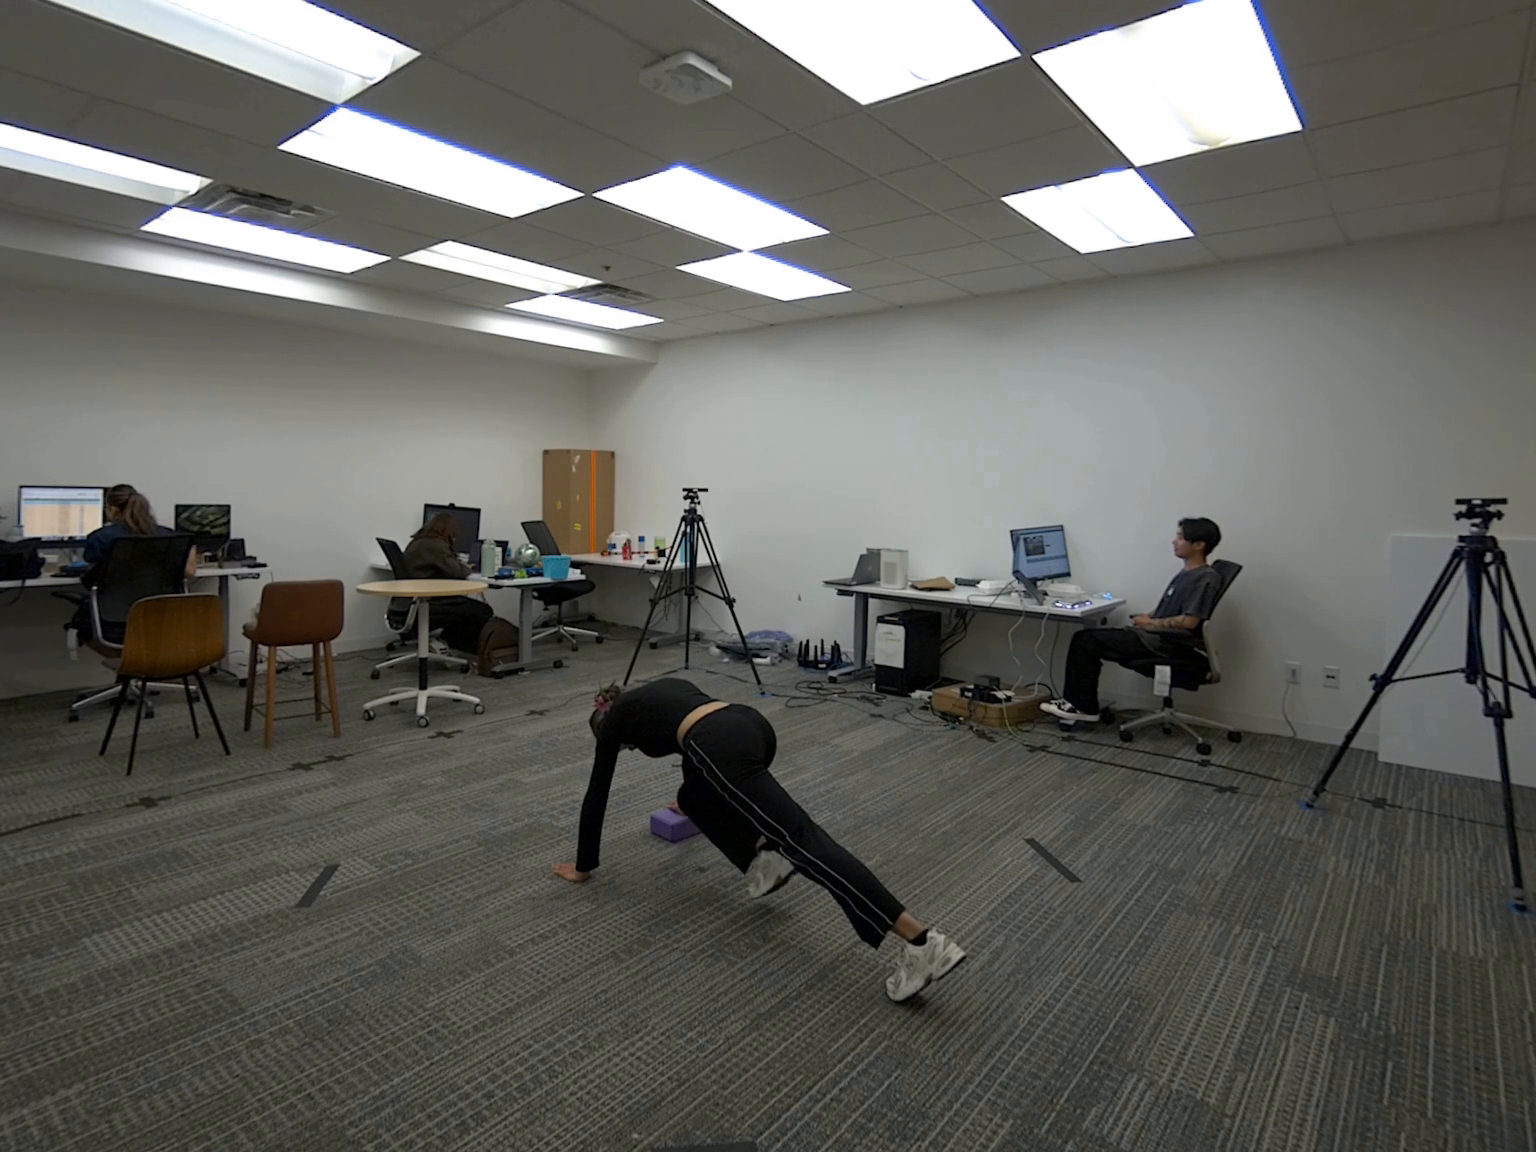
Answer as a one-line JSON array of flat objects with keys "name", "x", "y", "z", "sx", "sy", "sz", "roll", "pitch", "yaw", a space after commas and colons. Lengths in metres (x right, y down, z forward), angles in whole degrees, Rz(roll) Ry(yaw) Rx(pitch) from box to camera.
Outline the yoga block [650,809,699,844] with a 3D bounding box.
[{"name": "yoga block", "x": -0.360, "y": 0.996, "z": 3.458, "sx": 0.222, "sy": 0.076, "sz": 0.154, "roll": -2, "pitch": 5, "yaw": -44}]
